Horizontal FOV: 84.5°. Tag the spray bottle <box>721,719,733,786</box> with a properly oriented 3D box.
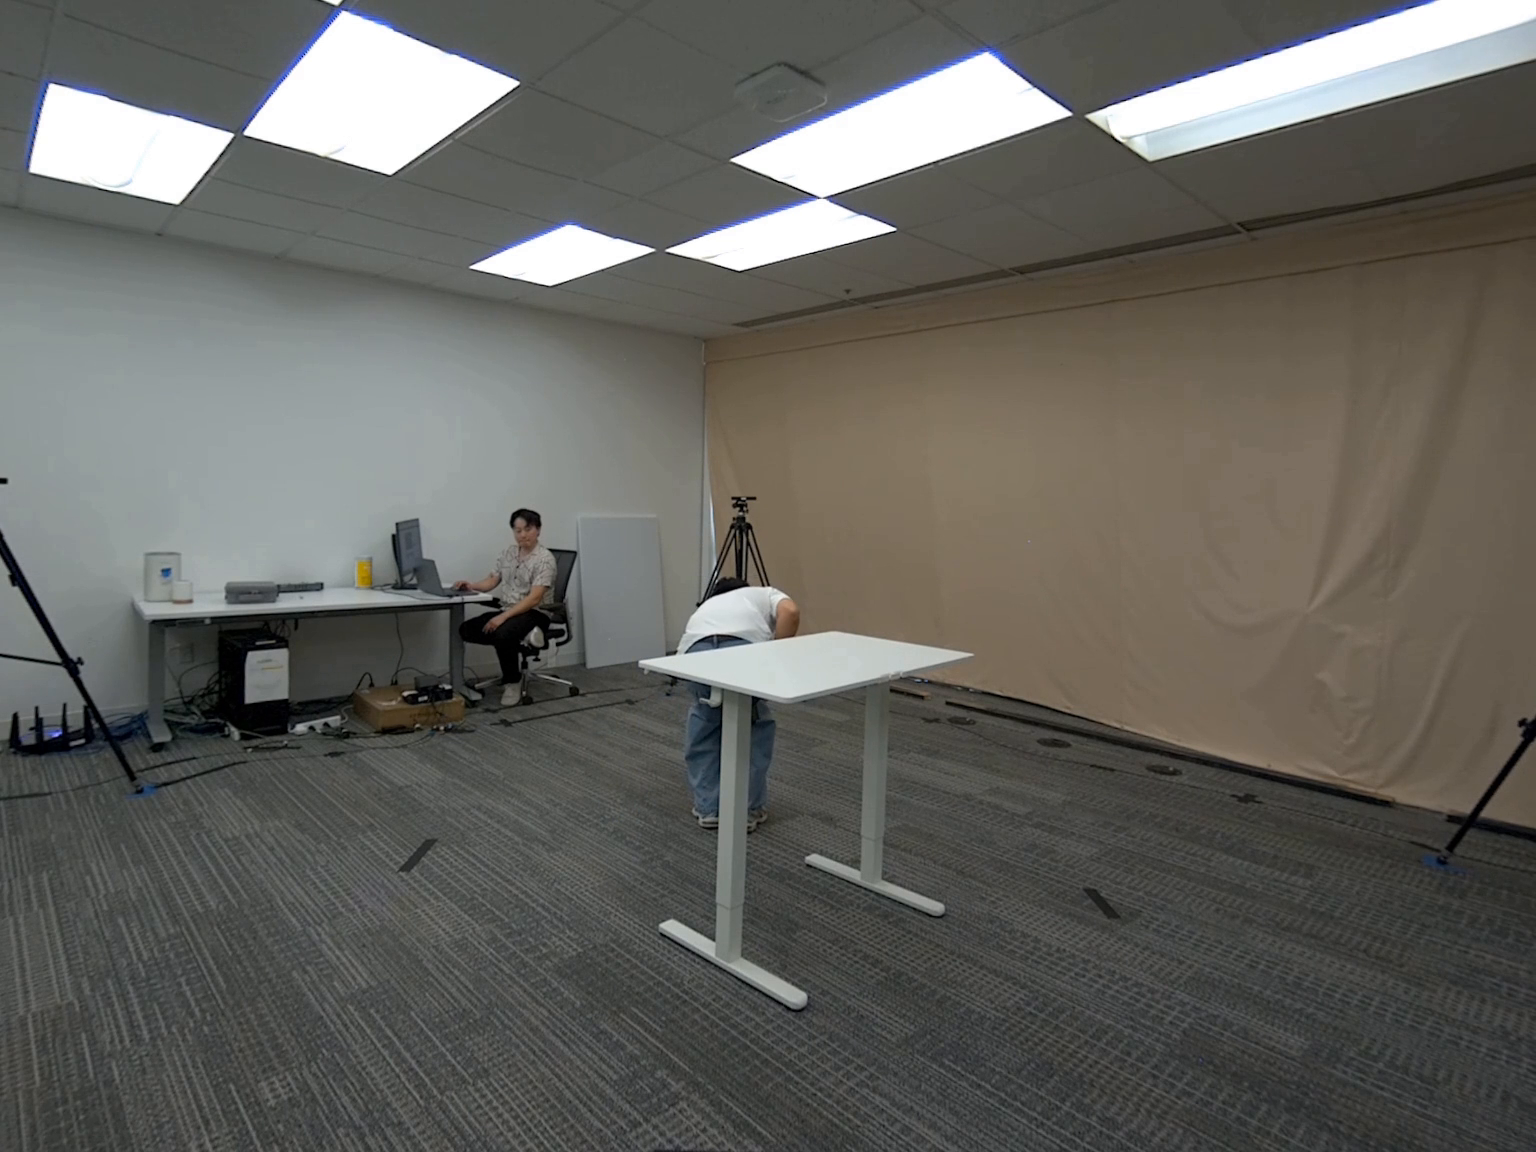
[{"bbox_3d":[-0.241,0.856,4.123,0.085,0.296,0.092,-3,6,-38],"label":"spray bottle"}]
